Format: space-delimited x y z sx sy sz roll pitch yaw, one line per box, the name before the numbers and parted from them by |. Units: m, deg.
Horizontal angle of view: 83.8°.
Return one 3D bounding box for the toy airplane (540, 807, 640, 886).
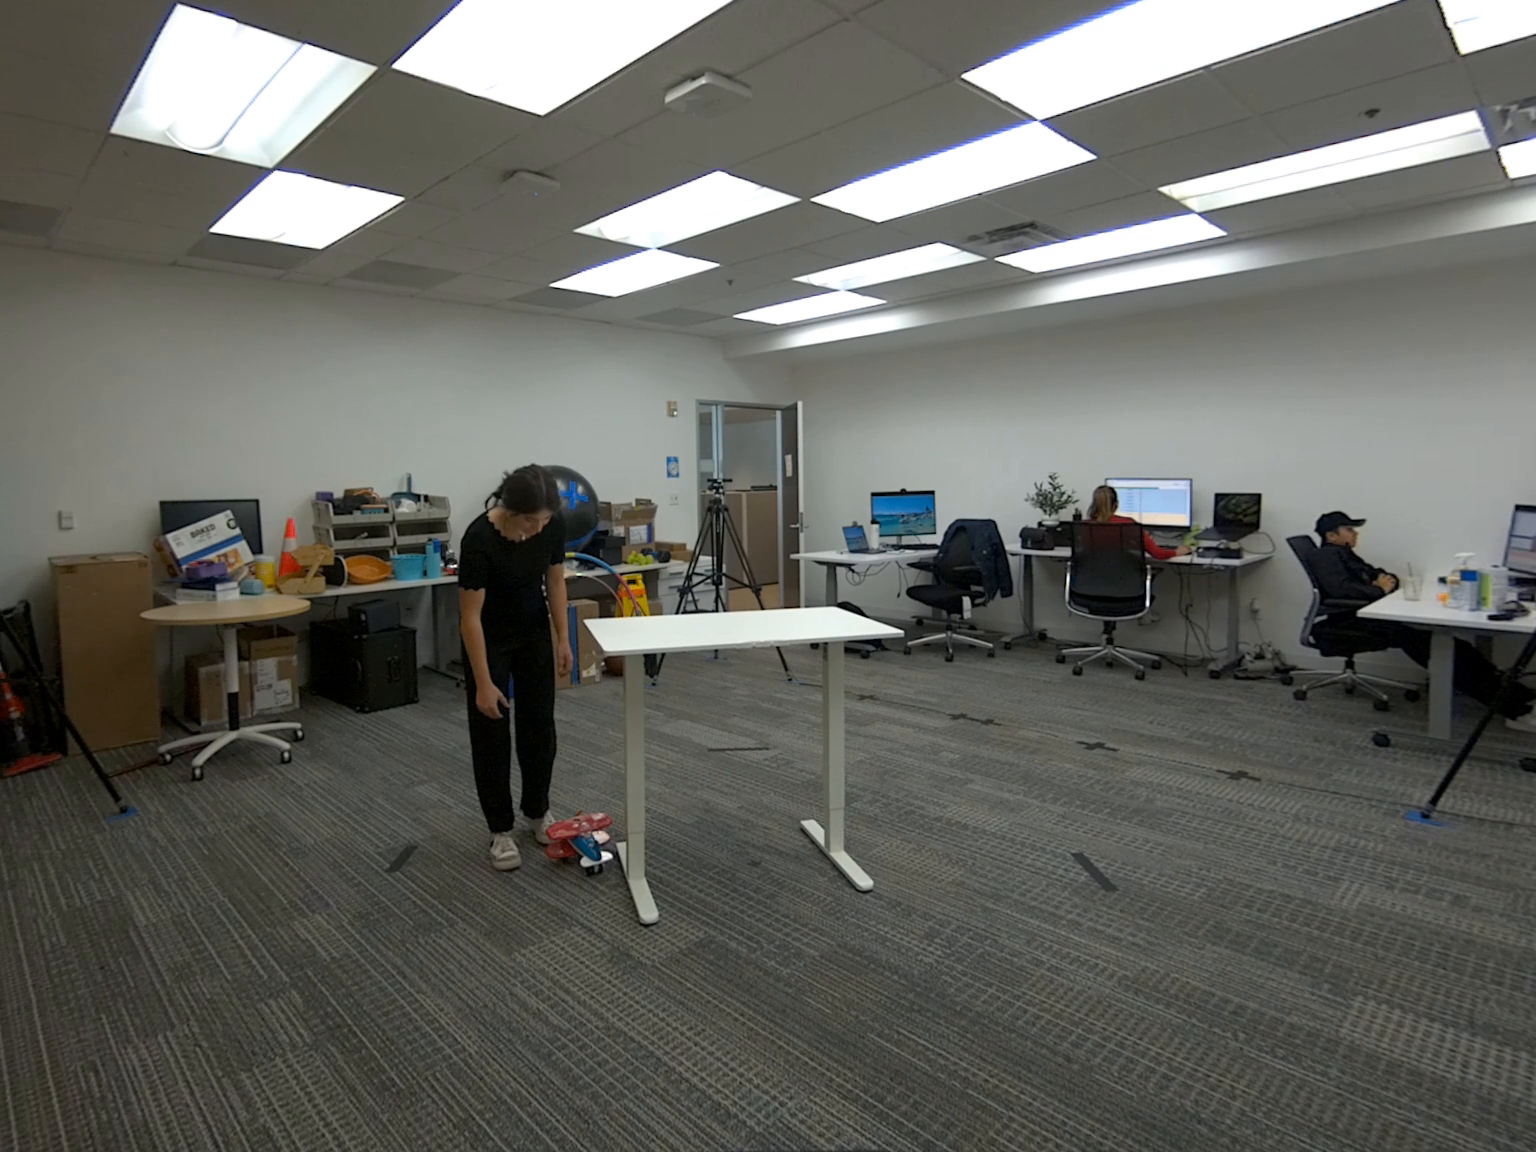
toy airplane | -0.649 0.978 3.123 0.265 0.156 0.246 -1 5 25
